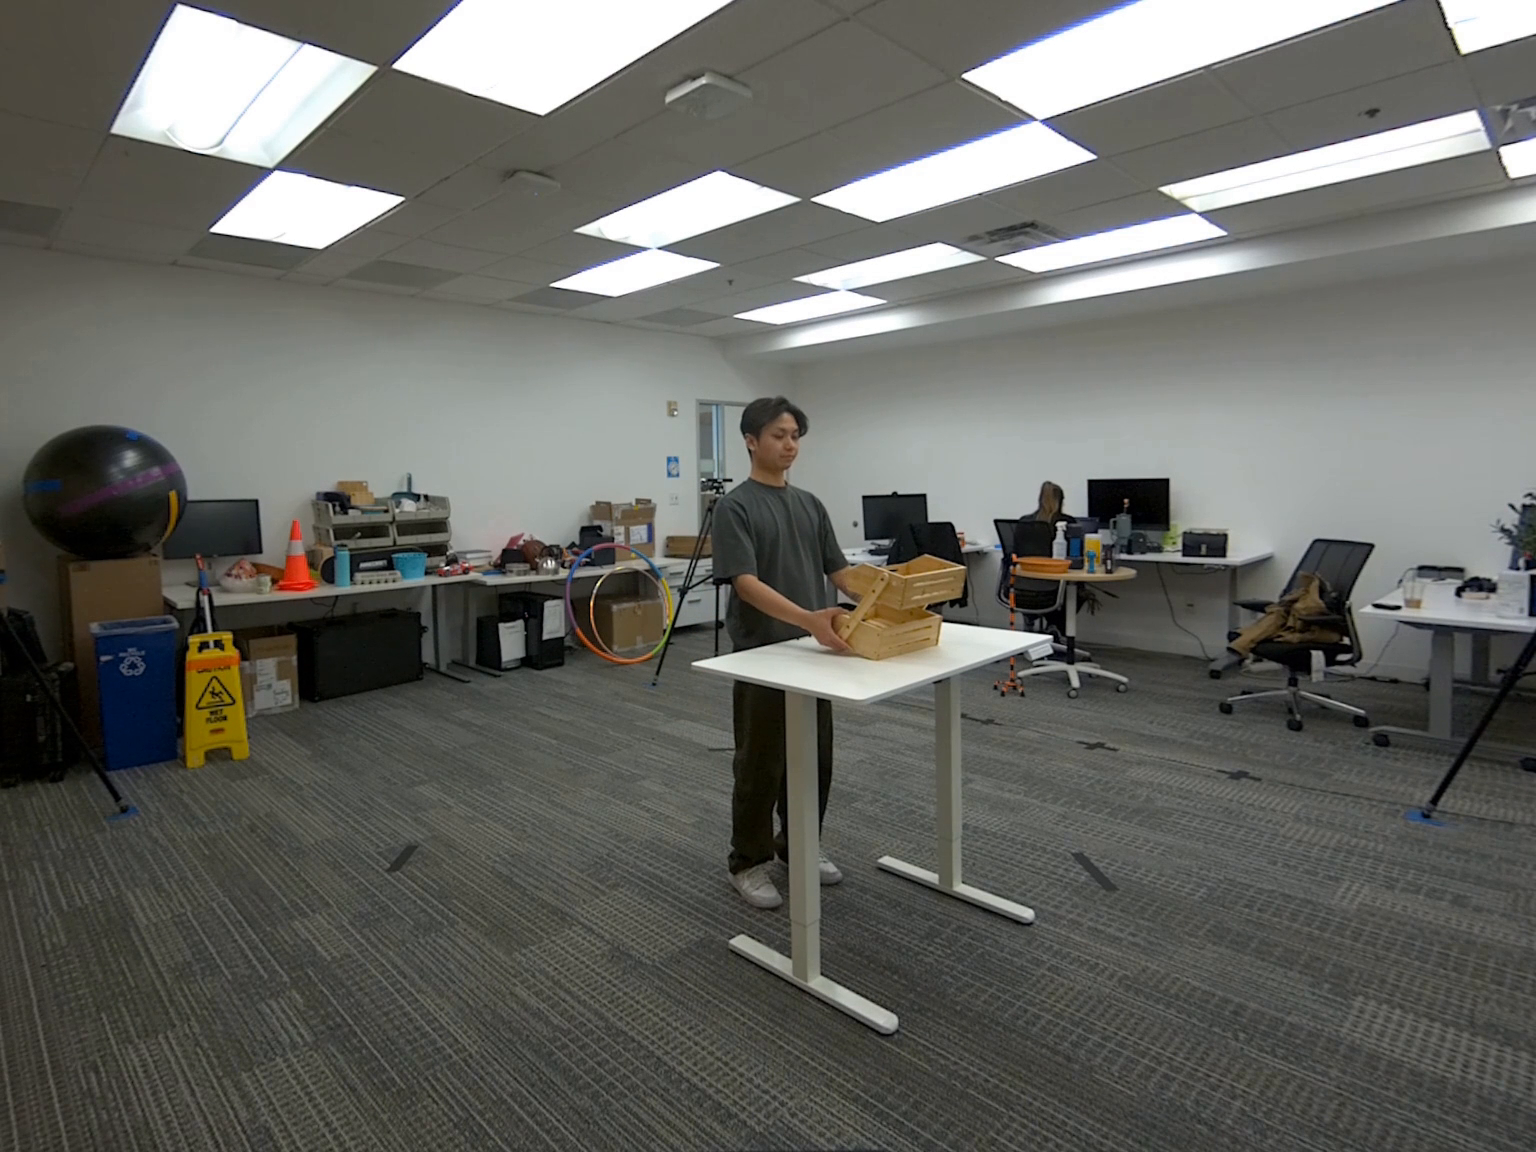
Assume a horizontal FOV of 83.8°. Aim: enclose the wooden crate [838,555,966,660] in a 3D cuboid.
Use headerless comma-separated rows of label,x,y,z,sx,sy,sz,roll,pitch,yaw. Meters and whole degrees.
wooden crate,0.364,0.072,2.531,0.316,0.270,0.313,-7,19,-42
